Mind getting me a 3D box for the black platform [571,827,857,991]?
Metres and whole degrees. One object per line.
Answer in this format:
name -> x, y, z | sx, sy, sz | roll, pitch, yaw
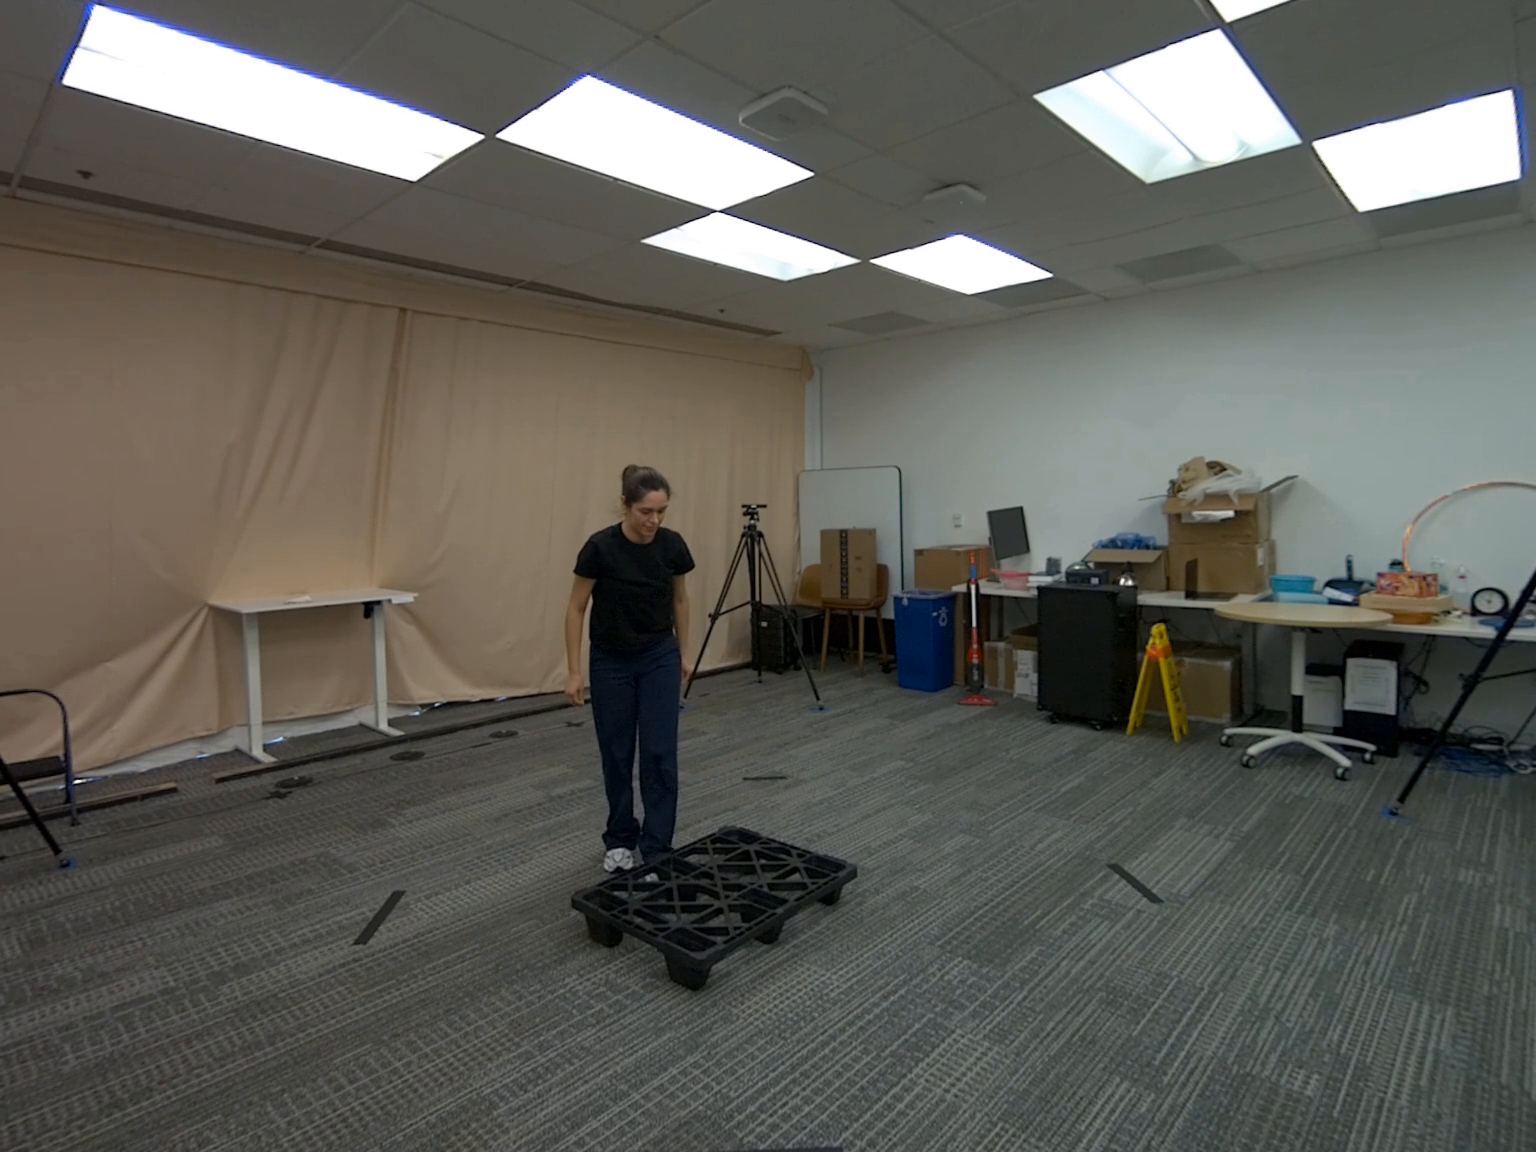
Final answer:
black platform -> -0.151, 1.090, 2.830 | 0.625, 0.143, 0.781 | 3, 6, 40
